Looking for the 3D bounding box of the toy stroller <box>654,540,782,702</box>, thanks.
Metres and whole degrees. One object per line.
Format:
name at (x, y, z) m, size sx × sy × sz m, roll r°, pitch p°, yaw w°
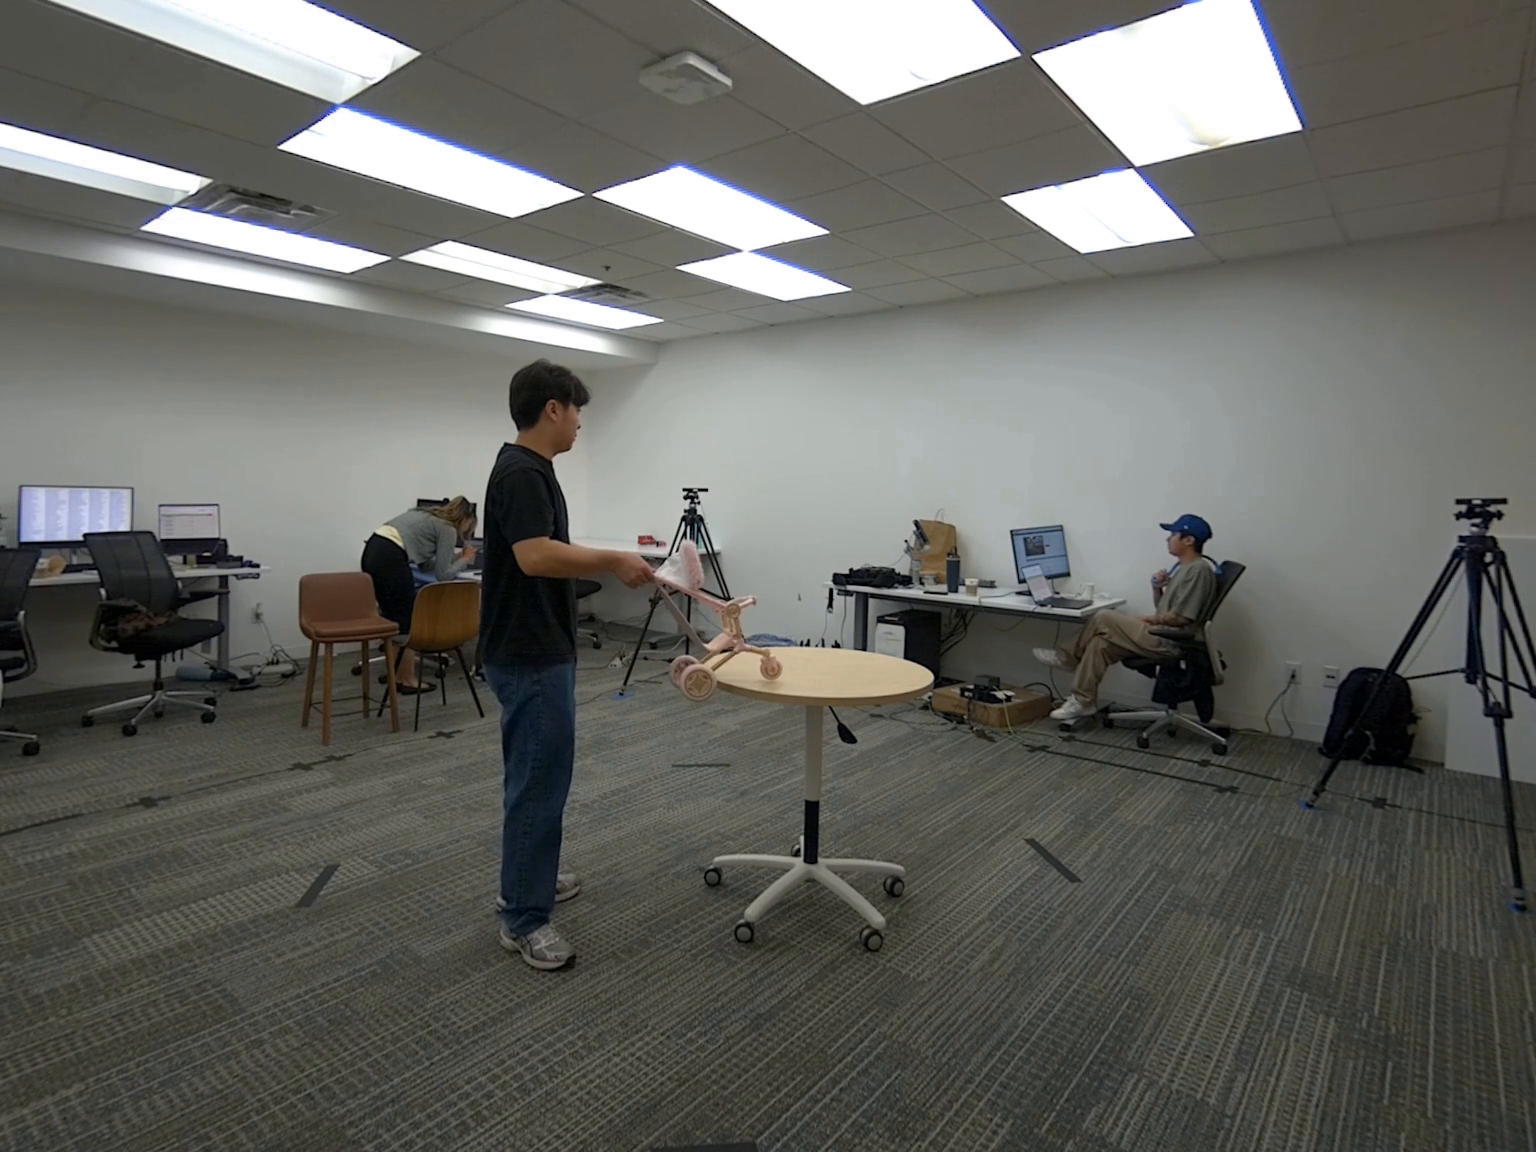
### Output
toy stroller at (-0.204, 0.128, 2.608) m, size 0.340 × 0.534 × 0.283 m, roll -23°, pitch 2°, yaw -7°
